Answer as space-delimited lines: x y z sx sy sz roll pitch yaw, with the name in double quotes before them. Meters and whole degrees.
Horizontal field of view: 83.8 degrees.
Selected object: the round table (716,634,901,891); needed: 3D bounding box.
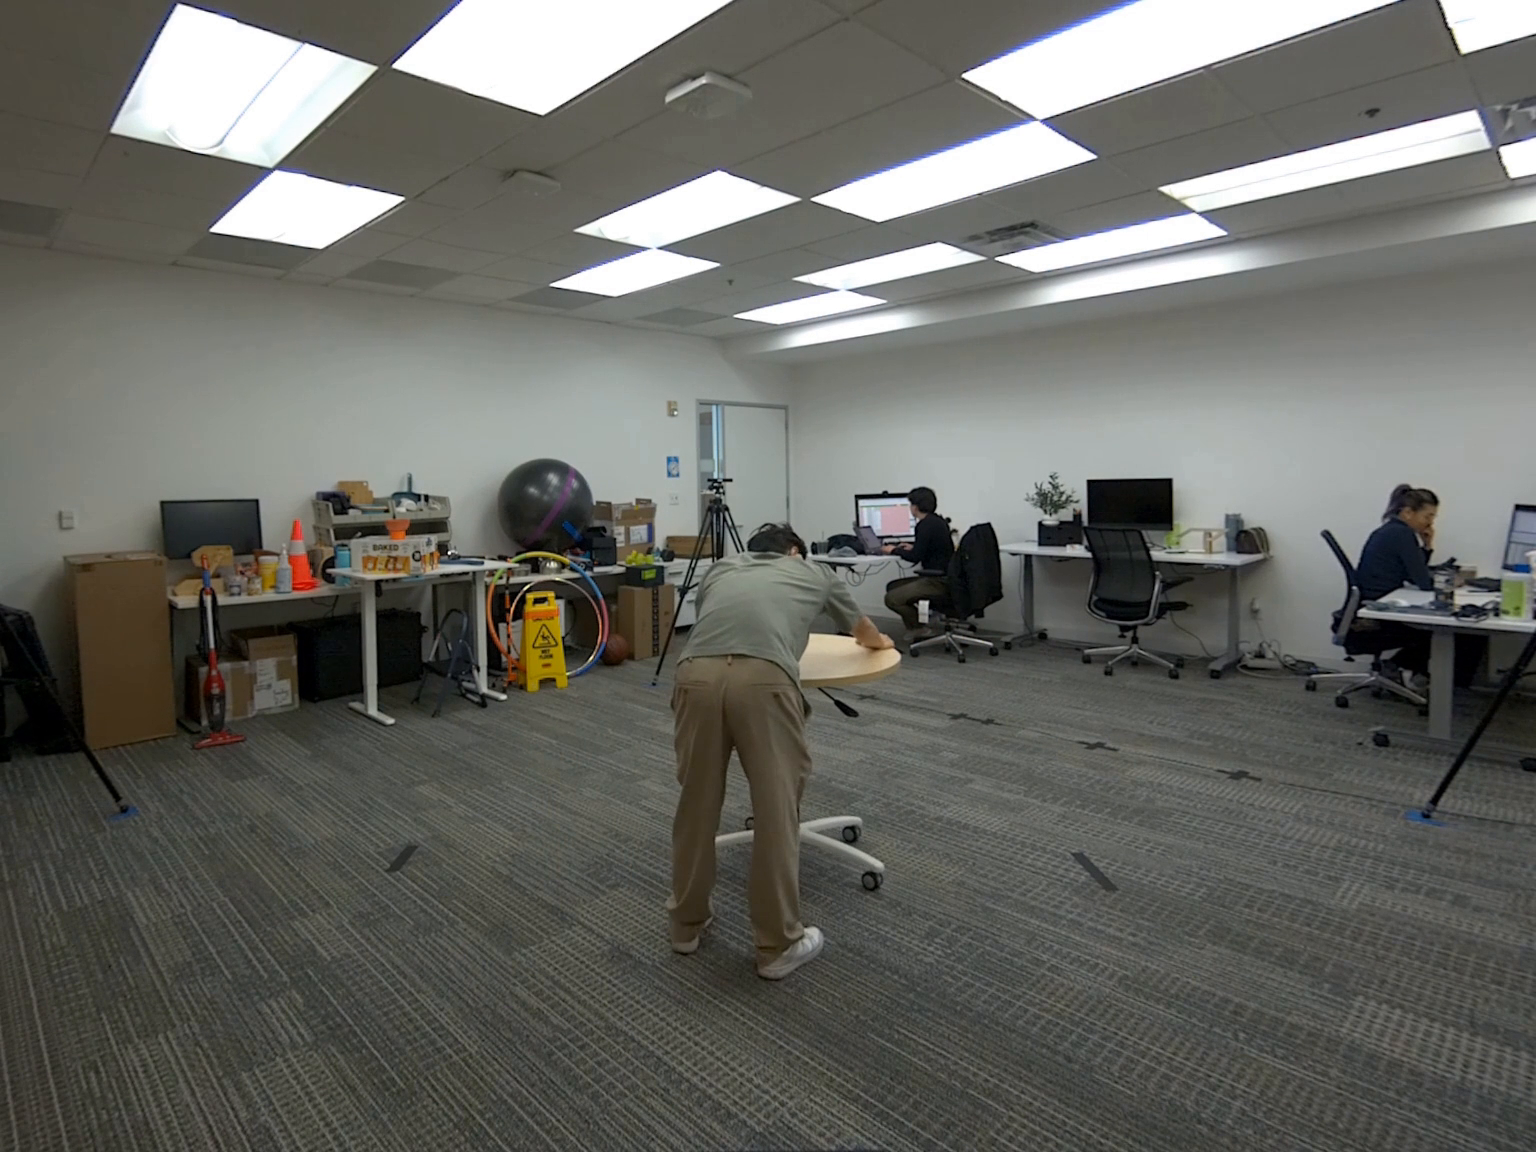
"round table" 0.070 0.658 3.069 0.784 0.783 0.790 -1 6 -2
